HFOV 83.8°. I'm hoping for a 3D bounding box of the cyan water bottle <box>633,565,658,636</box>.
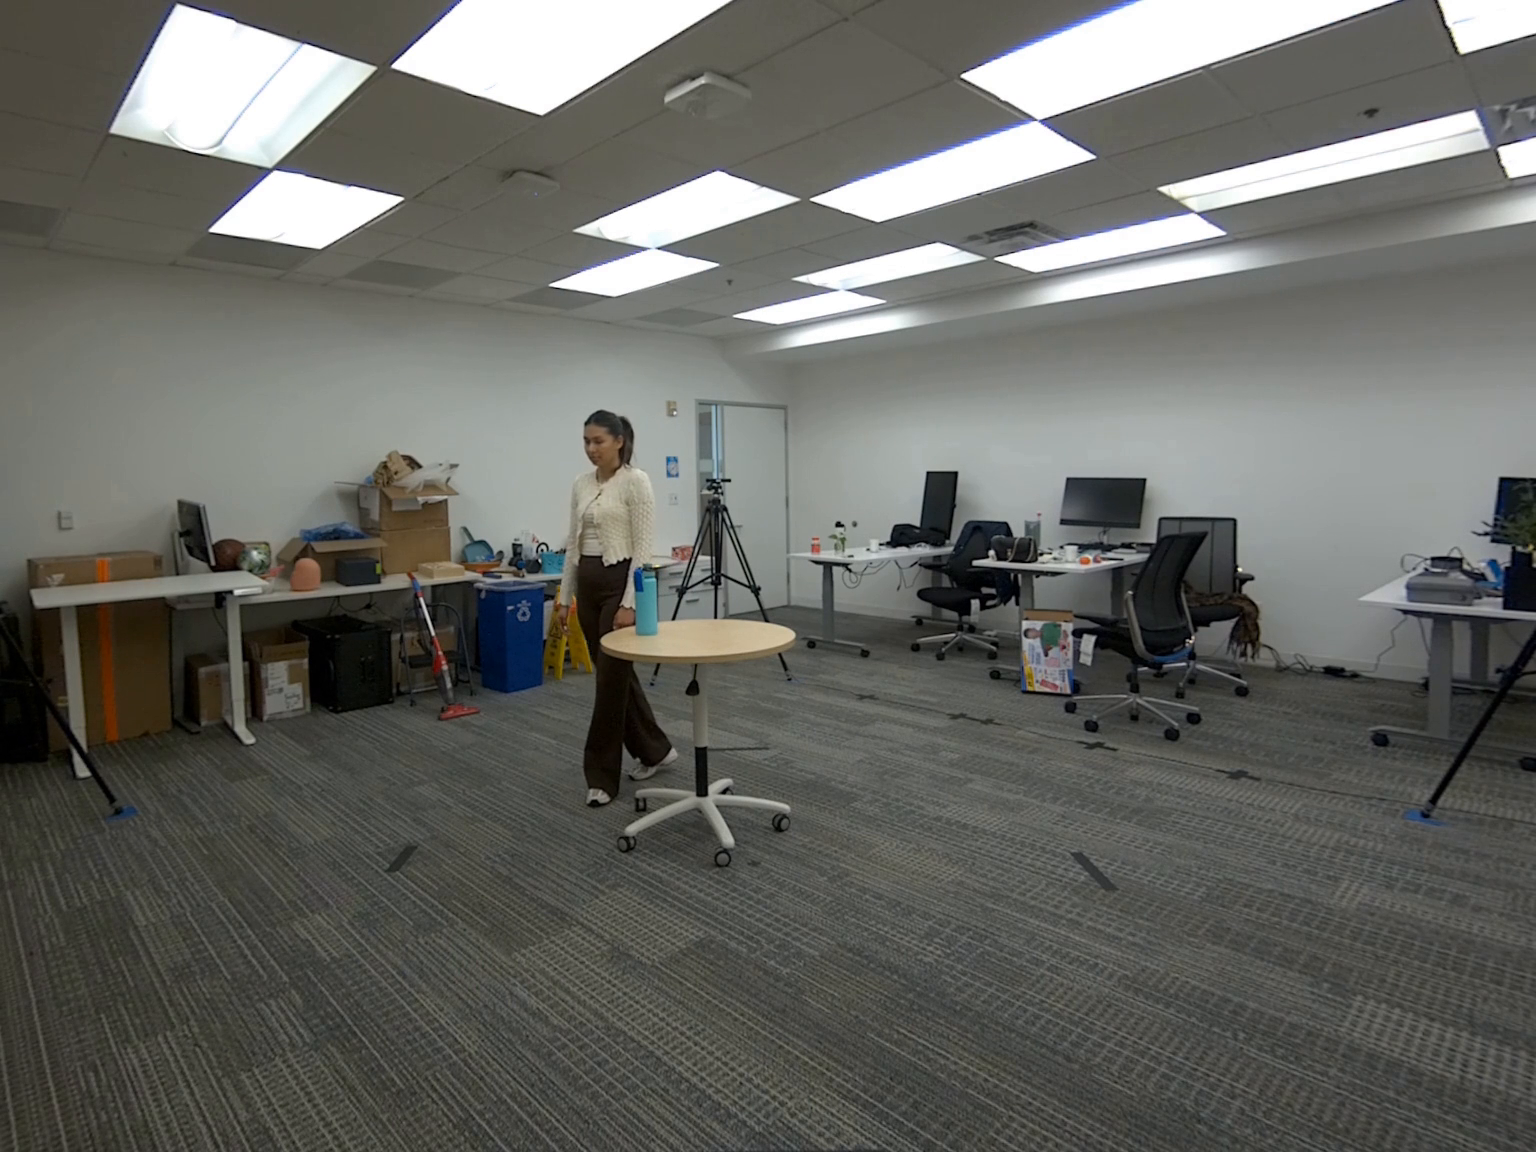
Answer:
[{"bbox_3d":[-0.496,0.095,3.437,0.092,0.282,0.093,-3,5,-1],"label":"cyan water bottle"}]
